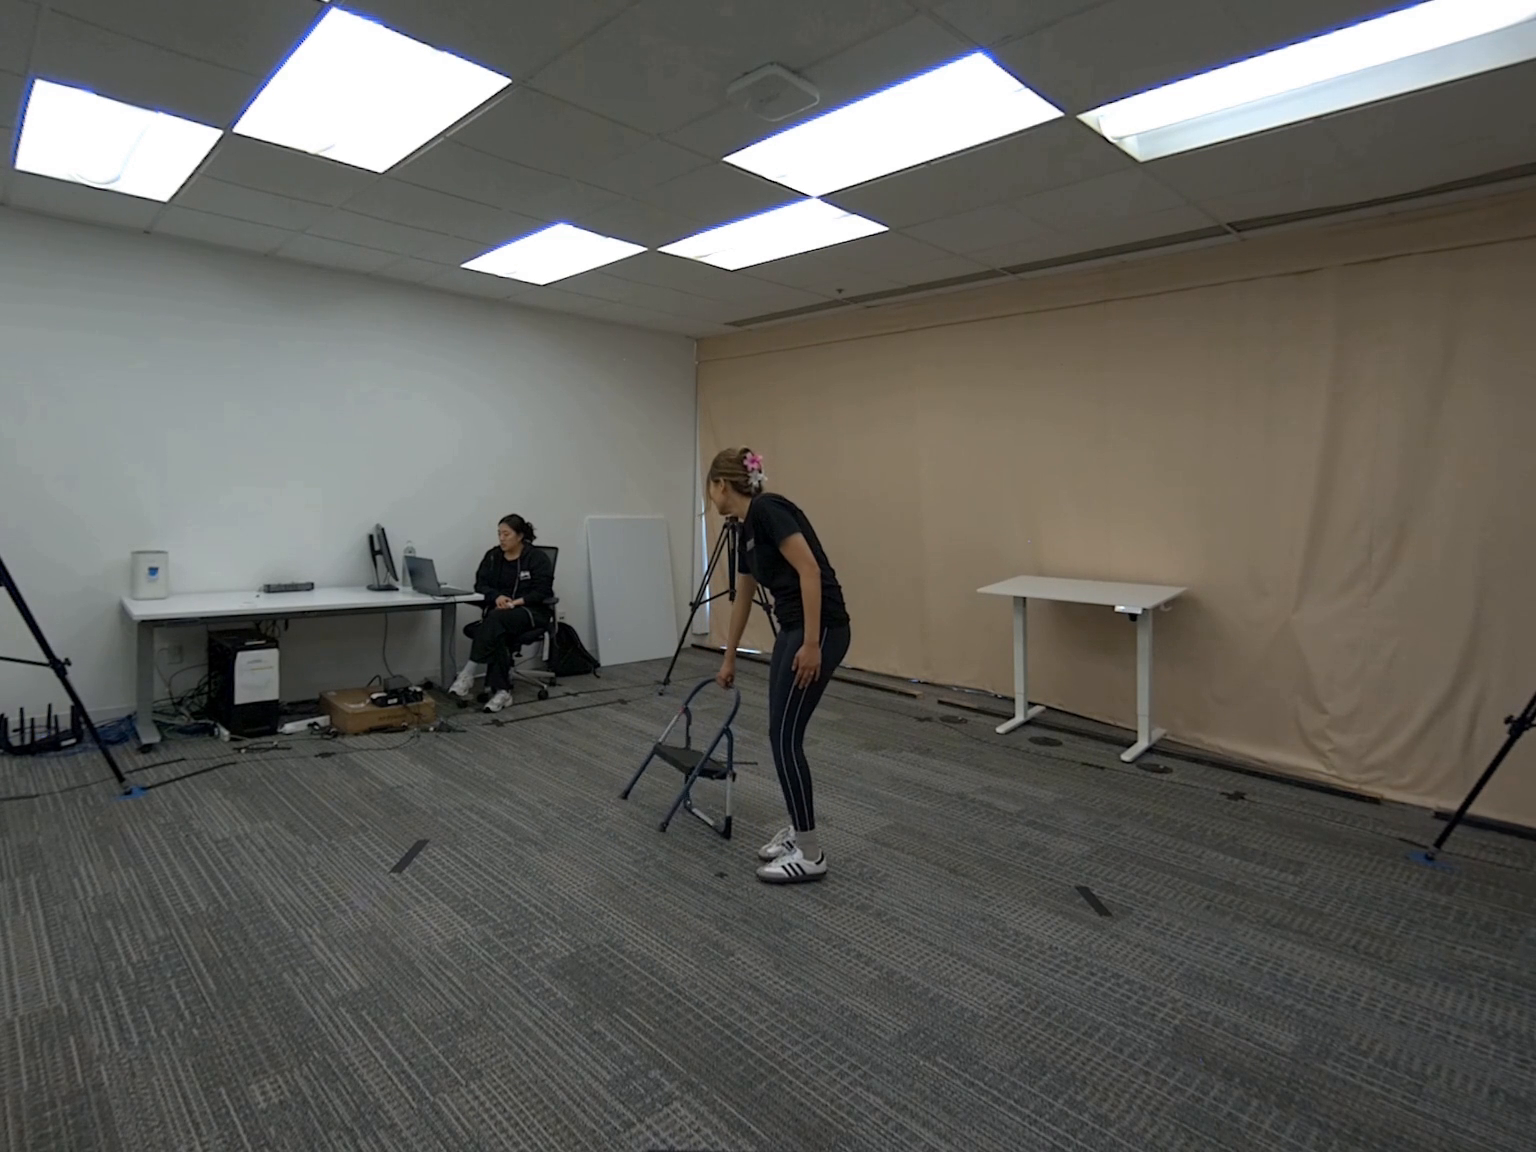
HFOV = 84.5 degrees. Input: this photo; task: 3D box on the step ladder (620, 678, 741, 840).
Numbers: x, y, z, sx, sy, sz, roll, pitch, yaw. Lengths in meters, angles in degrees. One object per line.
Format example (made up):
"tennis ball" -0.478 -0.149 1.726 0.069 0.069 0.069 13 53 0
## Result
"step ladder" -0.325 0.728 3.551 0.340 0.607 0.440 18 -5 -31
